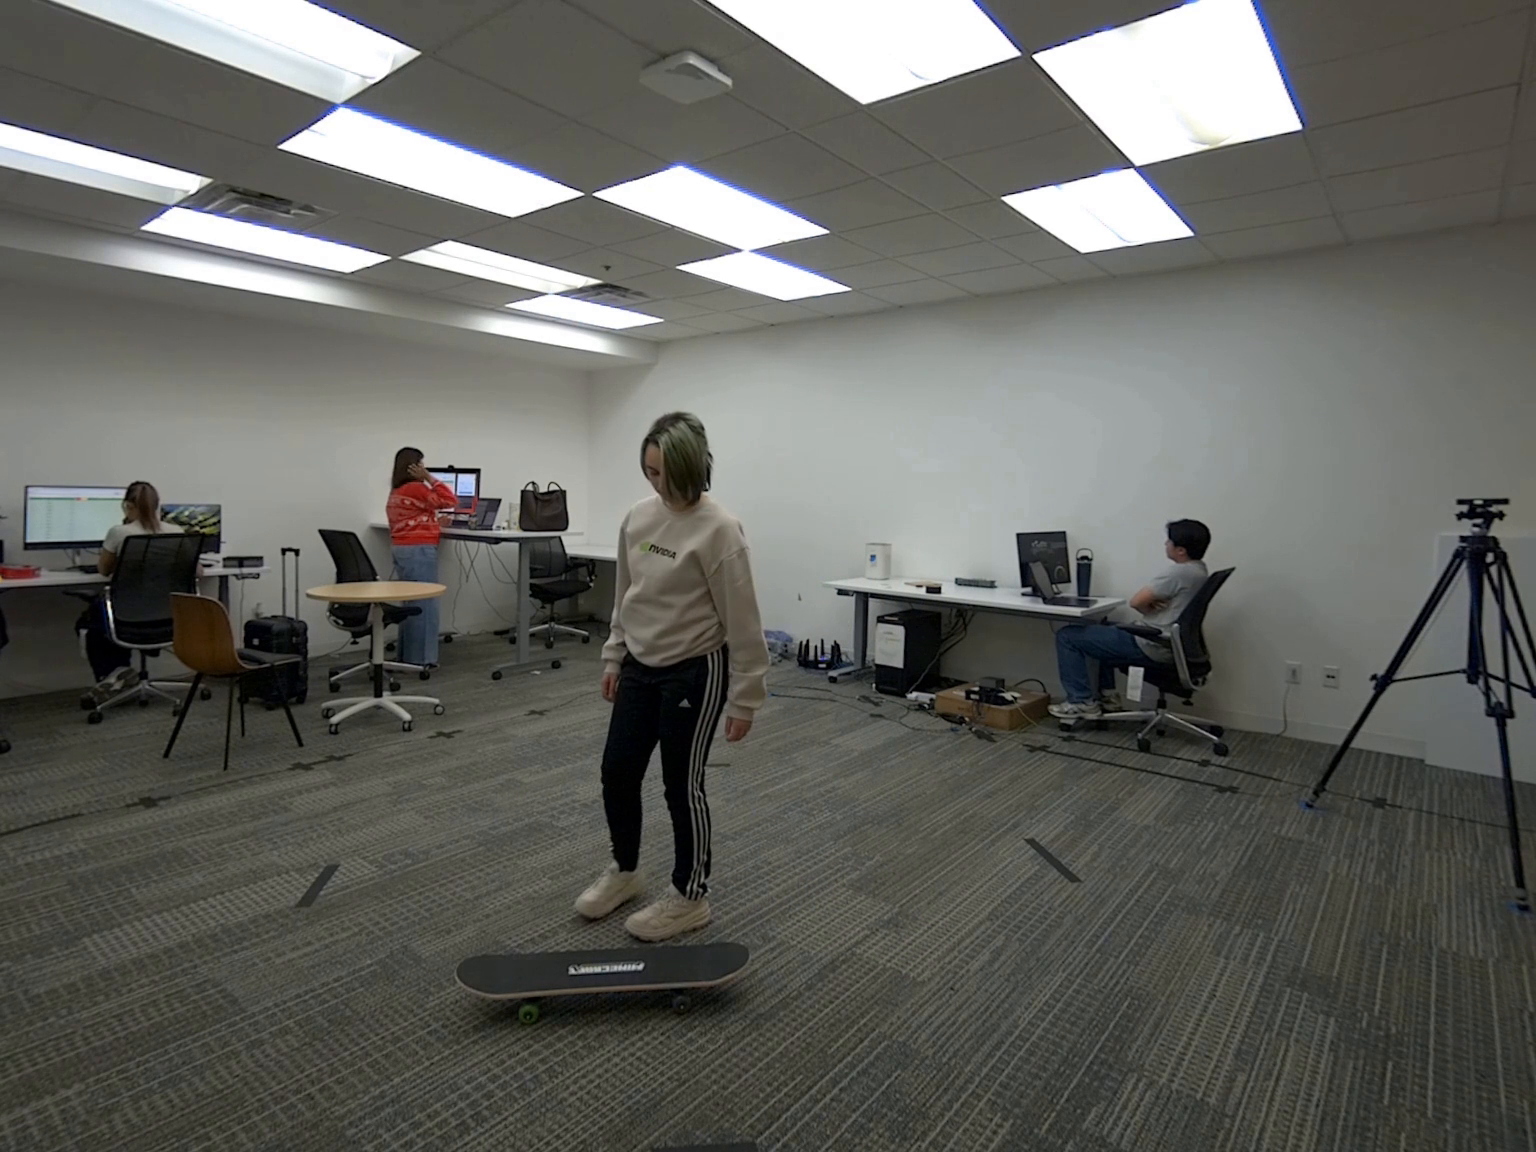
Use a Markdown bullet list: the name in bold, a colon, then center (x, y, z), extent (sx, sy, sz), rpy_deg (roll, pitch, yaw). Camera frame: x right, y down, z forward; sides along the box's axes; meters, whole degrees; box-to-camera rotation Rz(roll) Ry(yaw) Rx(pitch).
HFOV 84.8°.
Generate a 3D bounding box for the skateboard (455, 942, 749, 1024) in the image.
- **skateboard**: center (-0.439, 1.088, 2.304), extent (0.779, 0.110, 0.196), rpy_deg (0, 6, -8)
